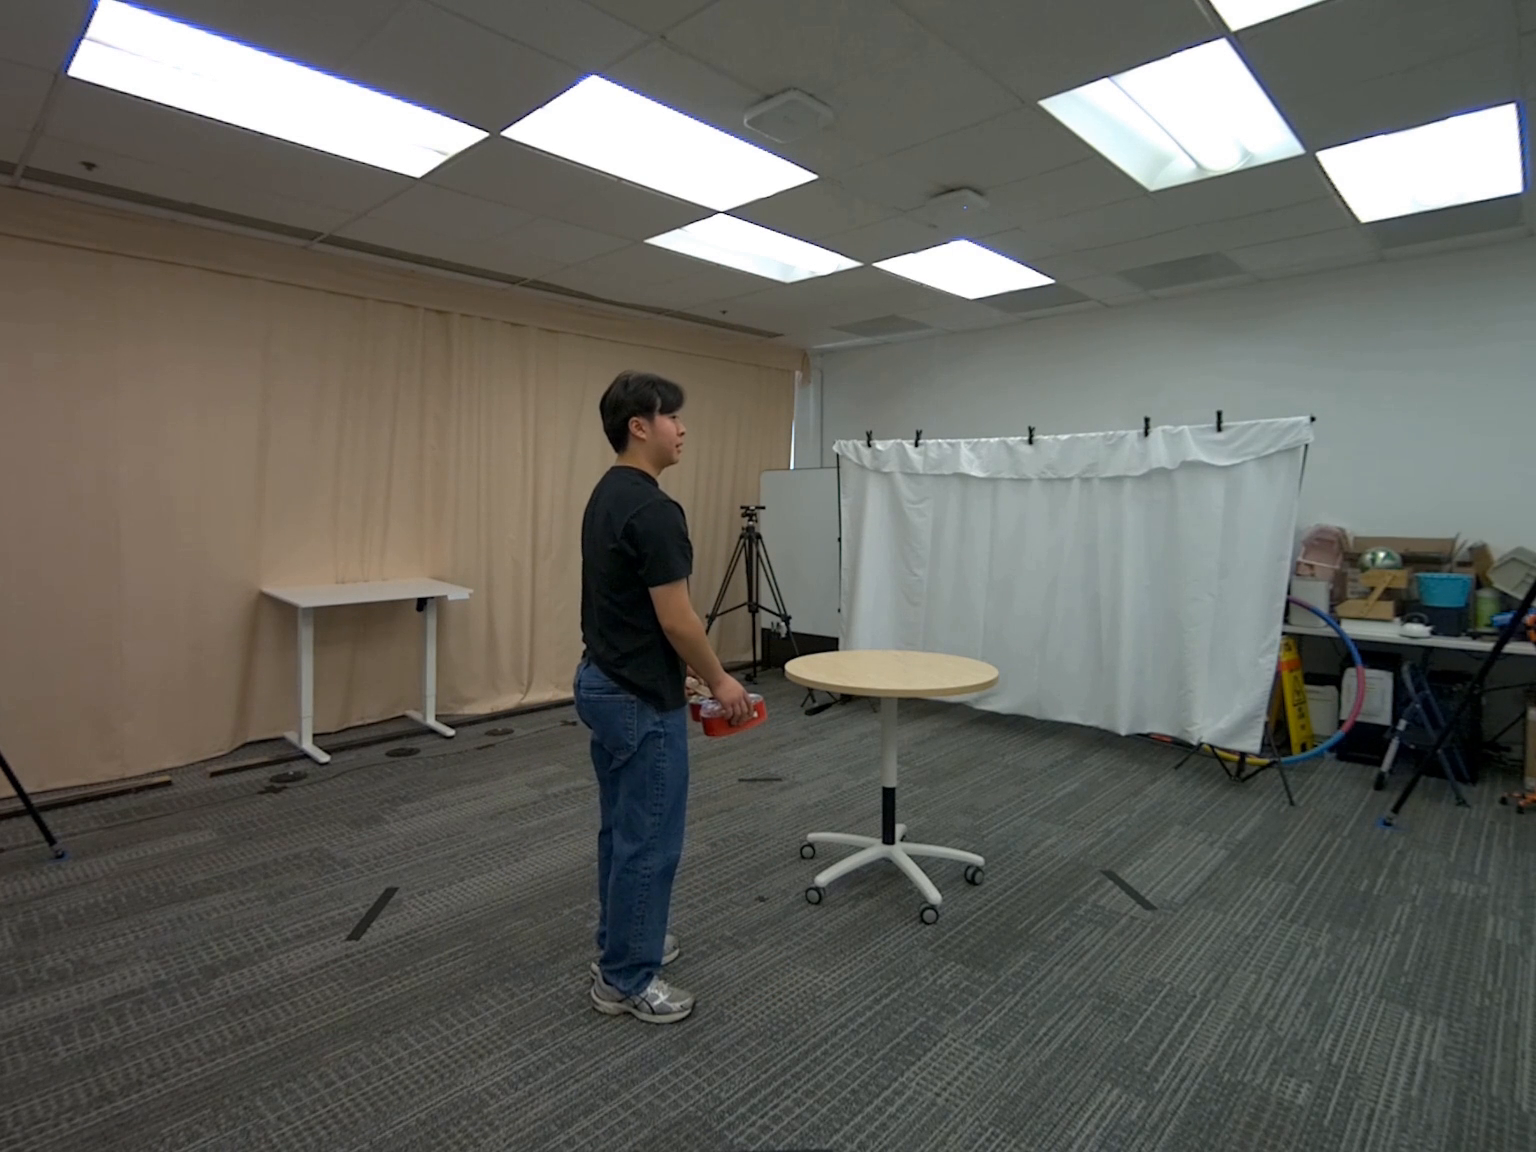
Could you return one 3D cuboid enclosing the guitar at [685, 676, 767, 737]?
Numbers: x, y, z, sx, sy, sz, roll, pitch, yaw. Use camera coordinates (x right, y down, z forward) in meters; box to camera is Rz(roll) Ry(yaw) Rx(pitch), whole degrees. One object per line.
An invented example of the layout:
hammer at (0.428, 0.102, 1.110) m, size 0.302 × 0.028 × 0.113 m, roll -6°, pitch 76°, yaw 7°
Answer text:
guitar at (-0.152, 0.380, 2.595) m, size 0.191 × 0.070 × 0.507 m, roll -15°, pitch 11°, yaw -13°
